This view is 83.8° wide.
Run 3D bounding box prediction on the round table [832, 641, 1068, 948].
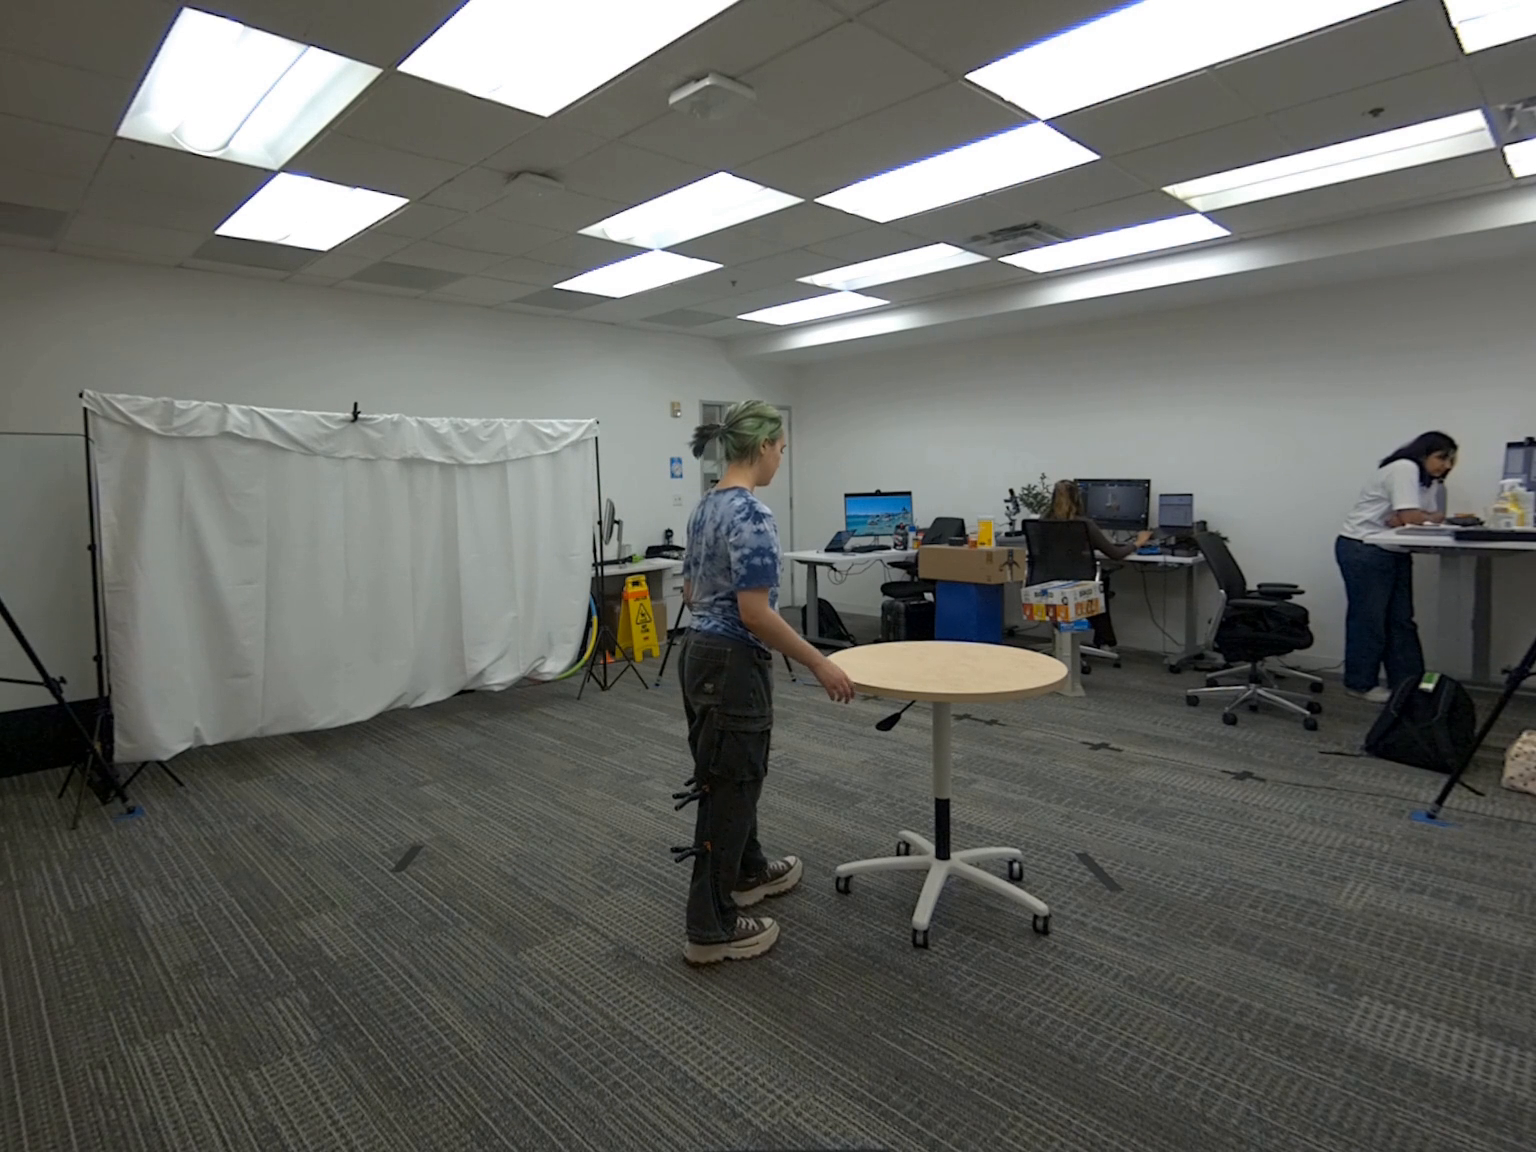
[{"bbox_3d":[0.572,0.682,2.803,0.763,0.791,0.768,-1,5,-2],"label":"round table"}]
